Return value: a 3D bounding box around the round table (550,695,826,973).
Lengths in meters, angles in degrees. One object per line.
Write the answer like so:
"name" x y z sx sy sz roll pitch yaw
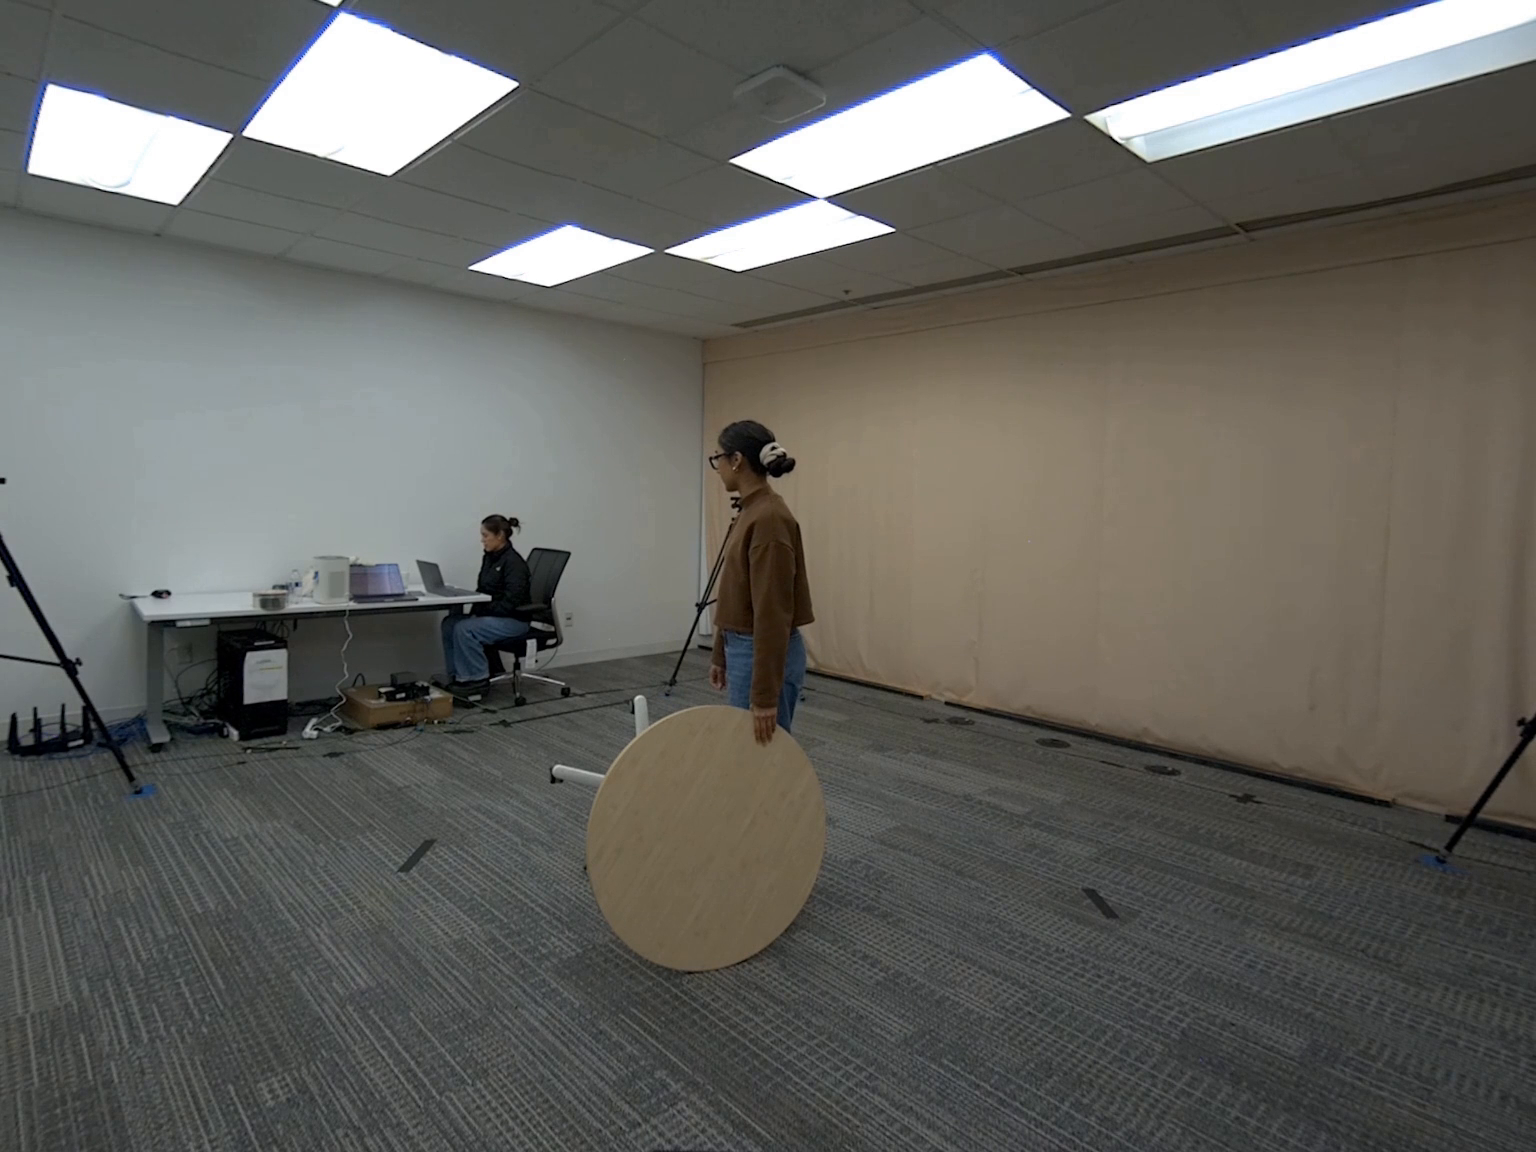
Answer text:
"round table" -0.339 0.792 2.871 0.750 0.766 0.806 -1 -3 -25
